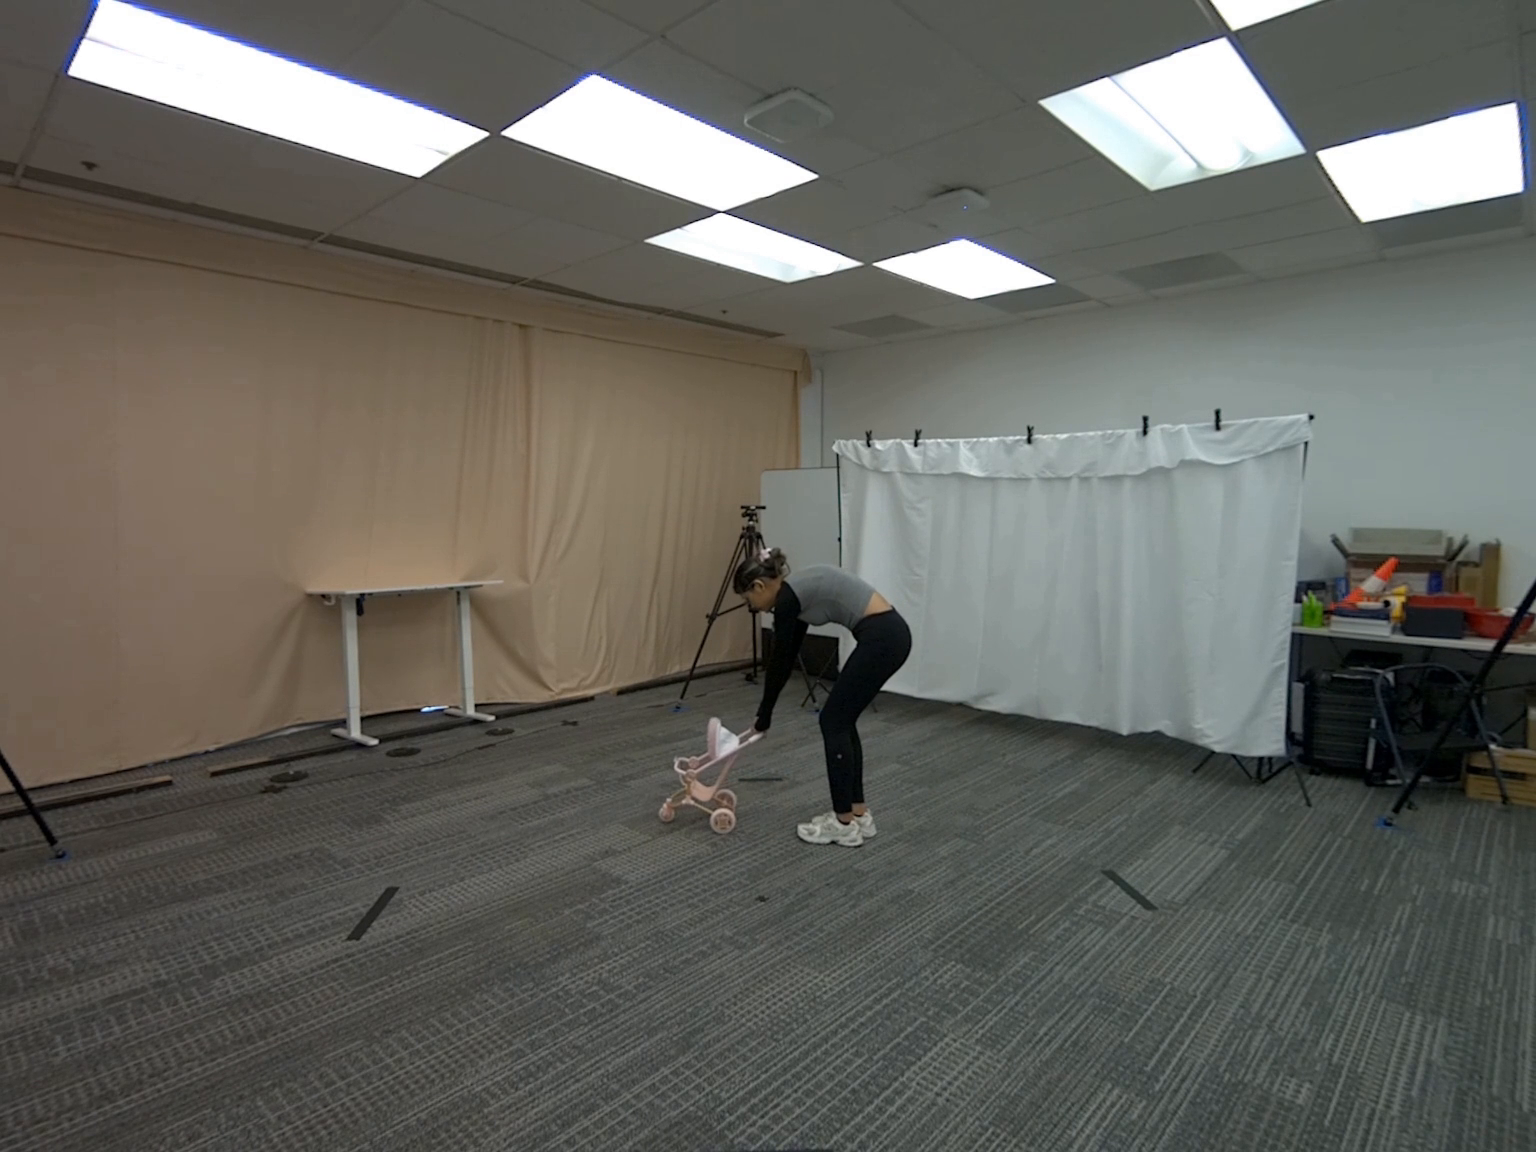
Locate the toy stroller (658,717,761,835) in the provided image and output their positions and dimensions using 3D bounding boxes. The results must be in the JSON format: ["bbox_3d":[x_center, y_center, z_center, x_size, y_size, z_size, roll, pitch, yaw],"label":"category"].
[{"bbox_3d":[-0.248,0.863,3.701,0.344,0.534,0.280,16,4,6],"label":"toy stroller"}]
